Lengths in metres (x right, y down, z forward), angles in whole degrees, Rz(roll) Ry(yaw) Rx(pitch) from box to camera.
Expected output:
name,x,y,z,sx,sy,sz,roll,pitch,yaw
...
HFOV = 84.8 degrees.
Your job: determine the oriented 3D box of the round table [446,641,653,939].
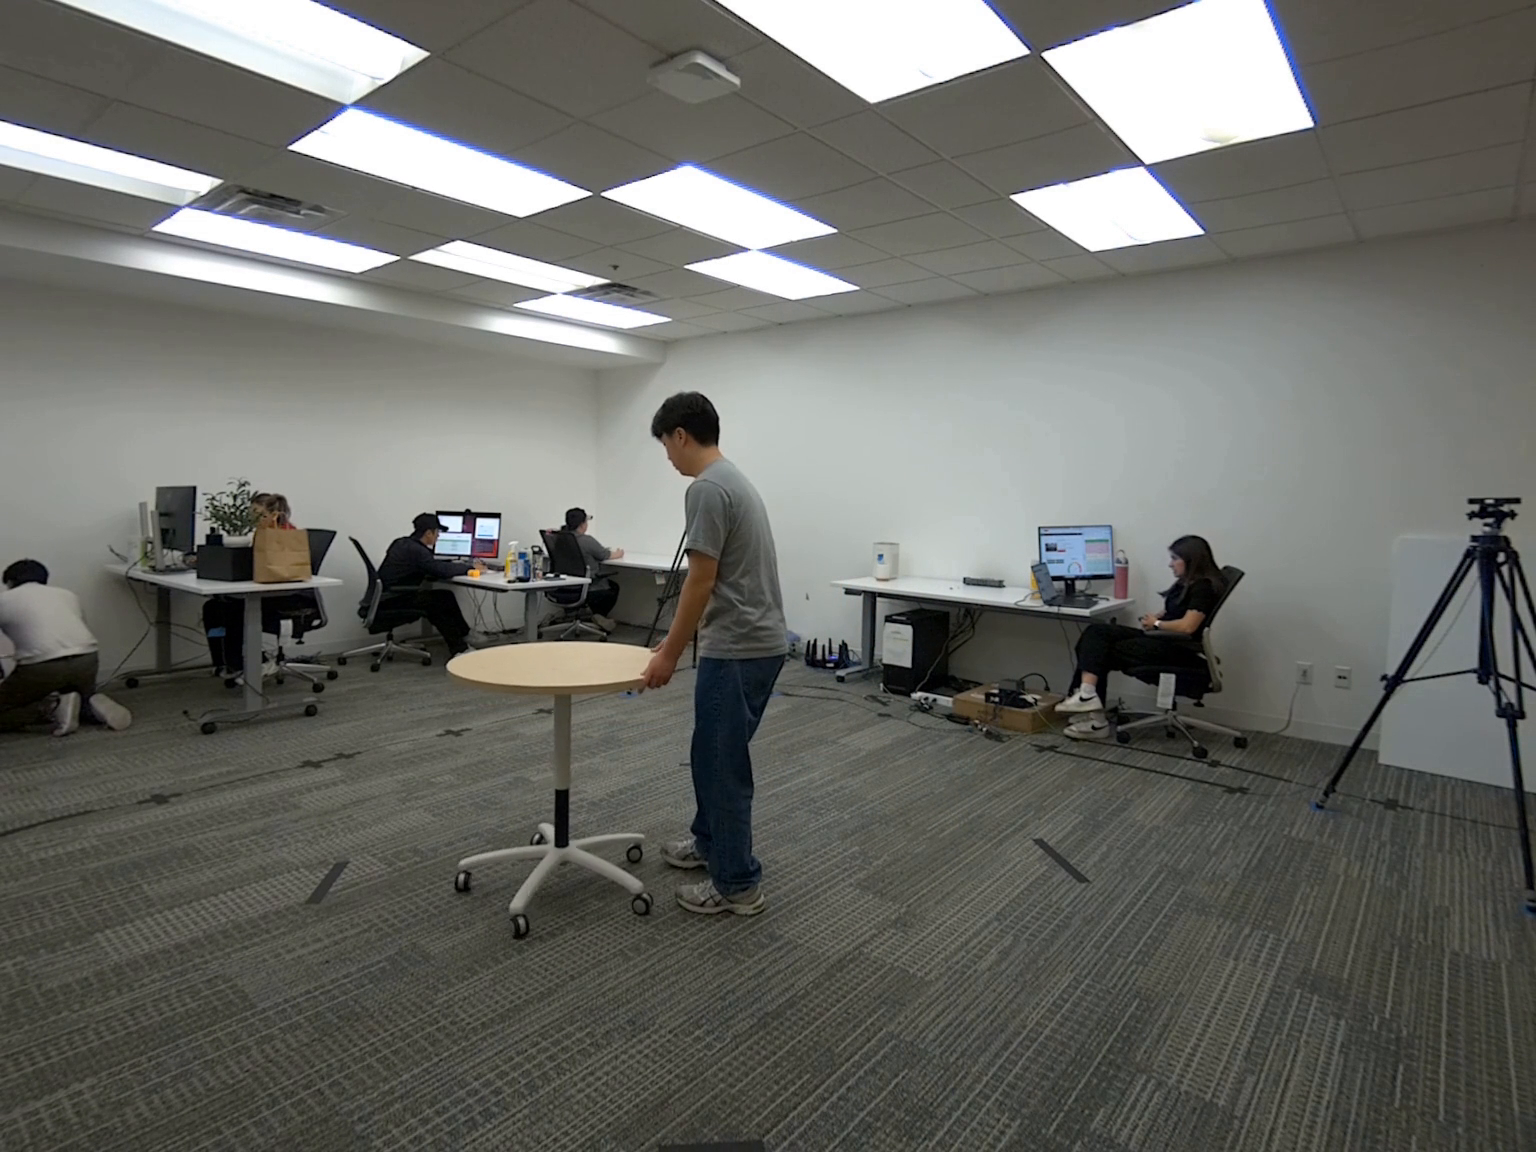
name,x,y,z,sx,sy,sz,roll,pitch,yaw
round table,-0.717,0.684,2.943,0.763,0.792,0.767,0,4,-2
